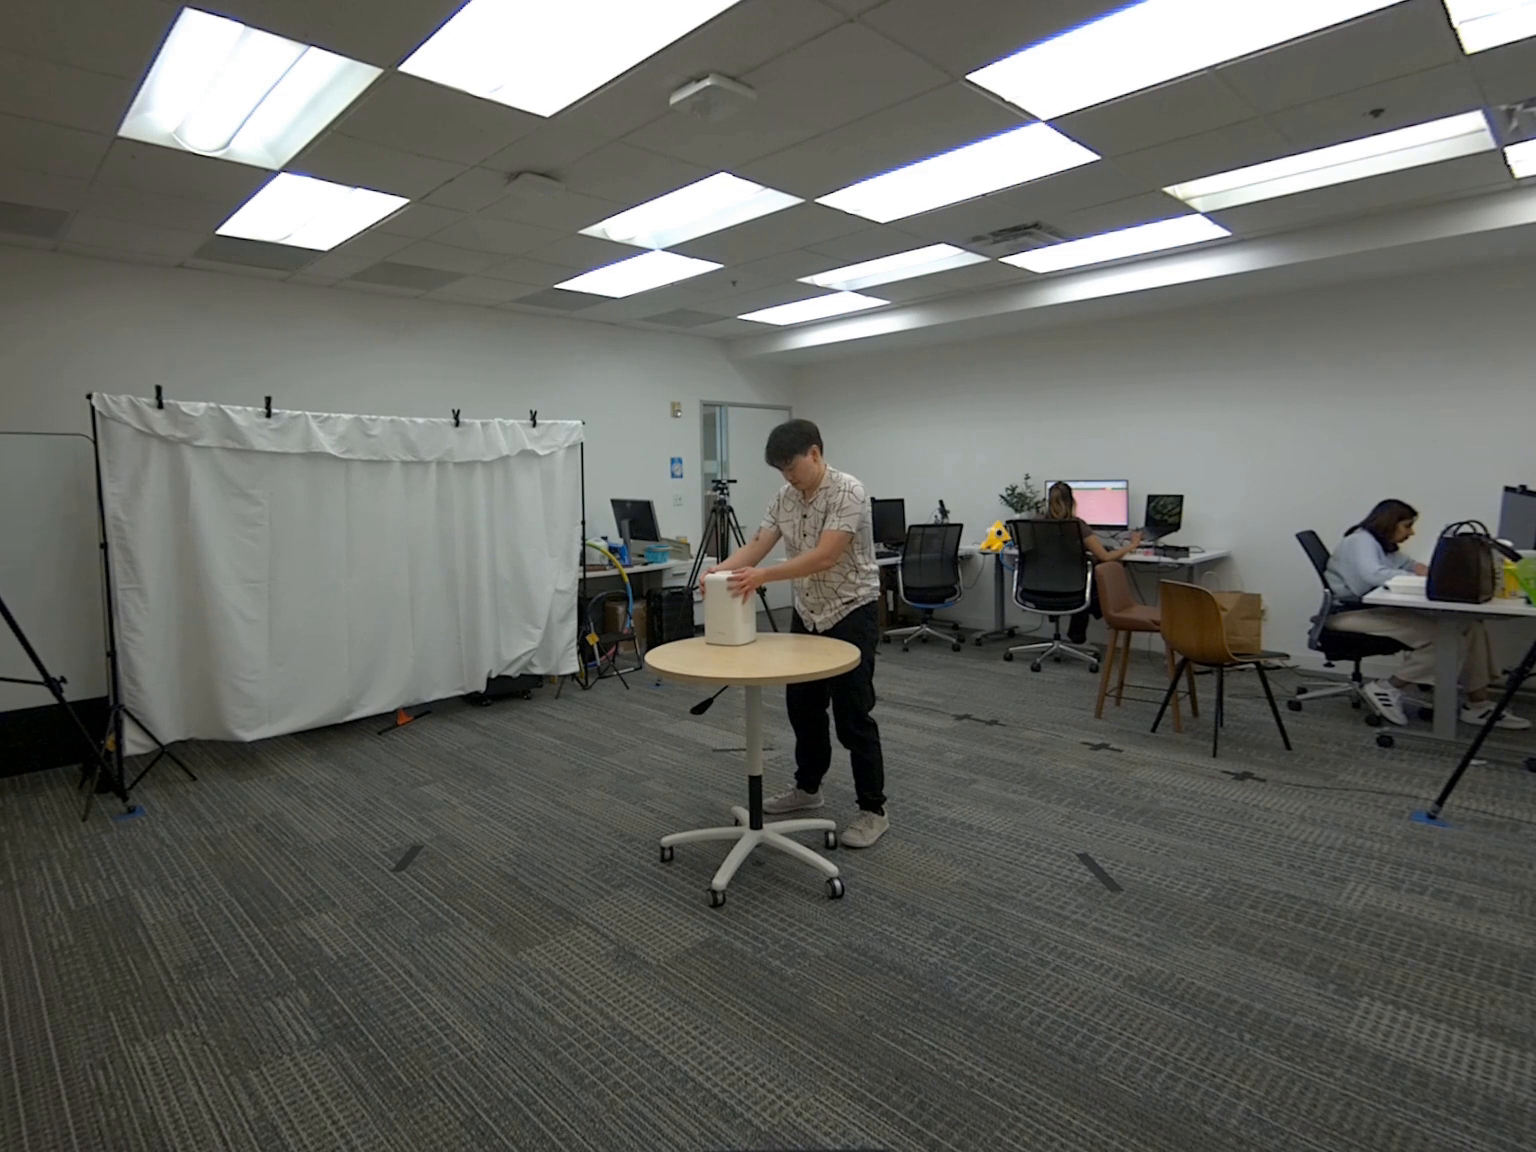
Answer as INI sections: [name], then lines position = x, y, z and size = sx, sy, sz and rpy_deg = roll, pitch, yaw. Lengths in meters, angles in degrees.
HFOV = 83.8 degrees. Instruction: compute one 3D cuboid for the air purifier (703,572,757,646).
[air purifier]
position = -0.145, 0.120, 3.261
size = 0.175, 0.265, 0.168
rpy_deg = -1, 3, 27
